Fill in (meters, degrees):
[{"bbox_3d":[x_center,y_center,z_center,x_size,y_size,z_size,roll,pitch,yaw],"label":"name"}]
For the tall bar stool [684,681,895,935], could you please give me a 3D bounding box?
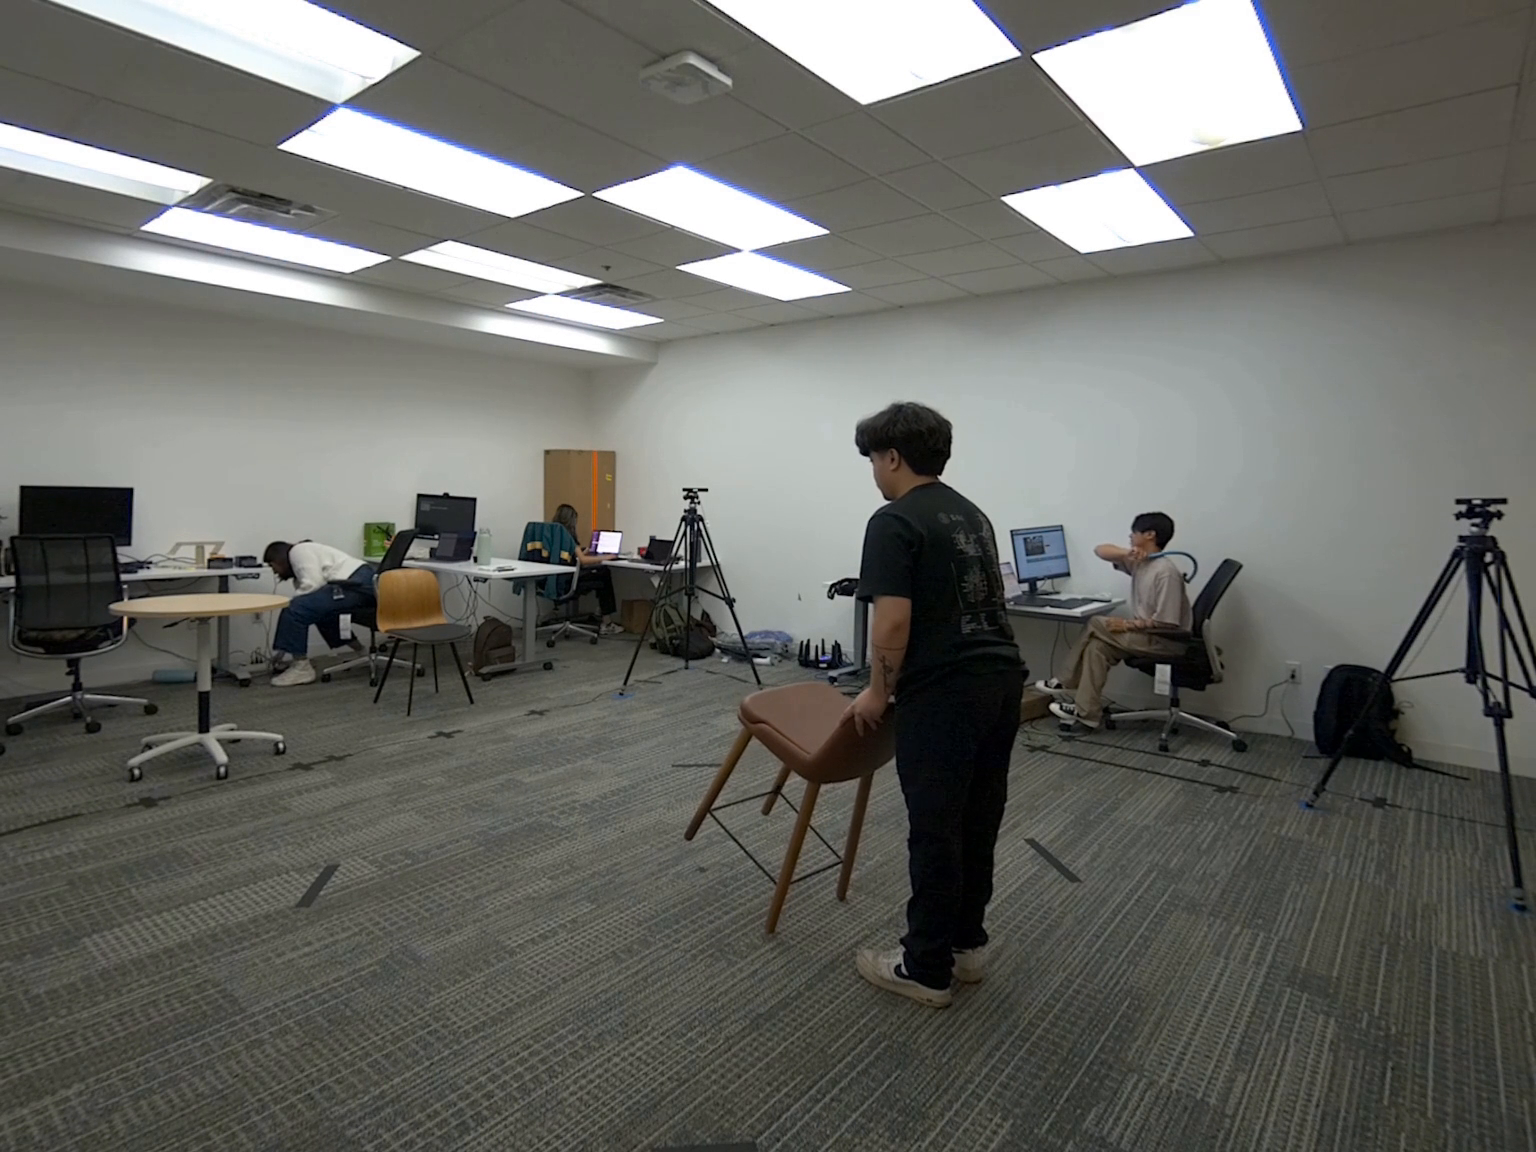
[{"bbox_3d":[0.125,0.623,2.778,0.442,0.880,0.488,-1,30,-44],"label":"tall bar stool"}]
